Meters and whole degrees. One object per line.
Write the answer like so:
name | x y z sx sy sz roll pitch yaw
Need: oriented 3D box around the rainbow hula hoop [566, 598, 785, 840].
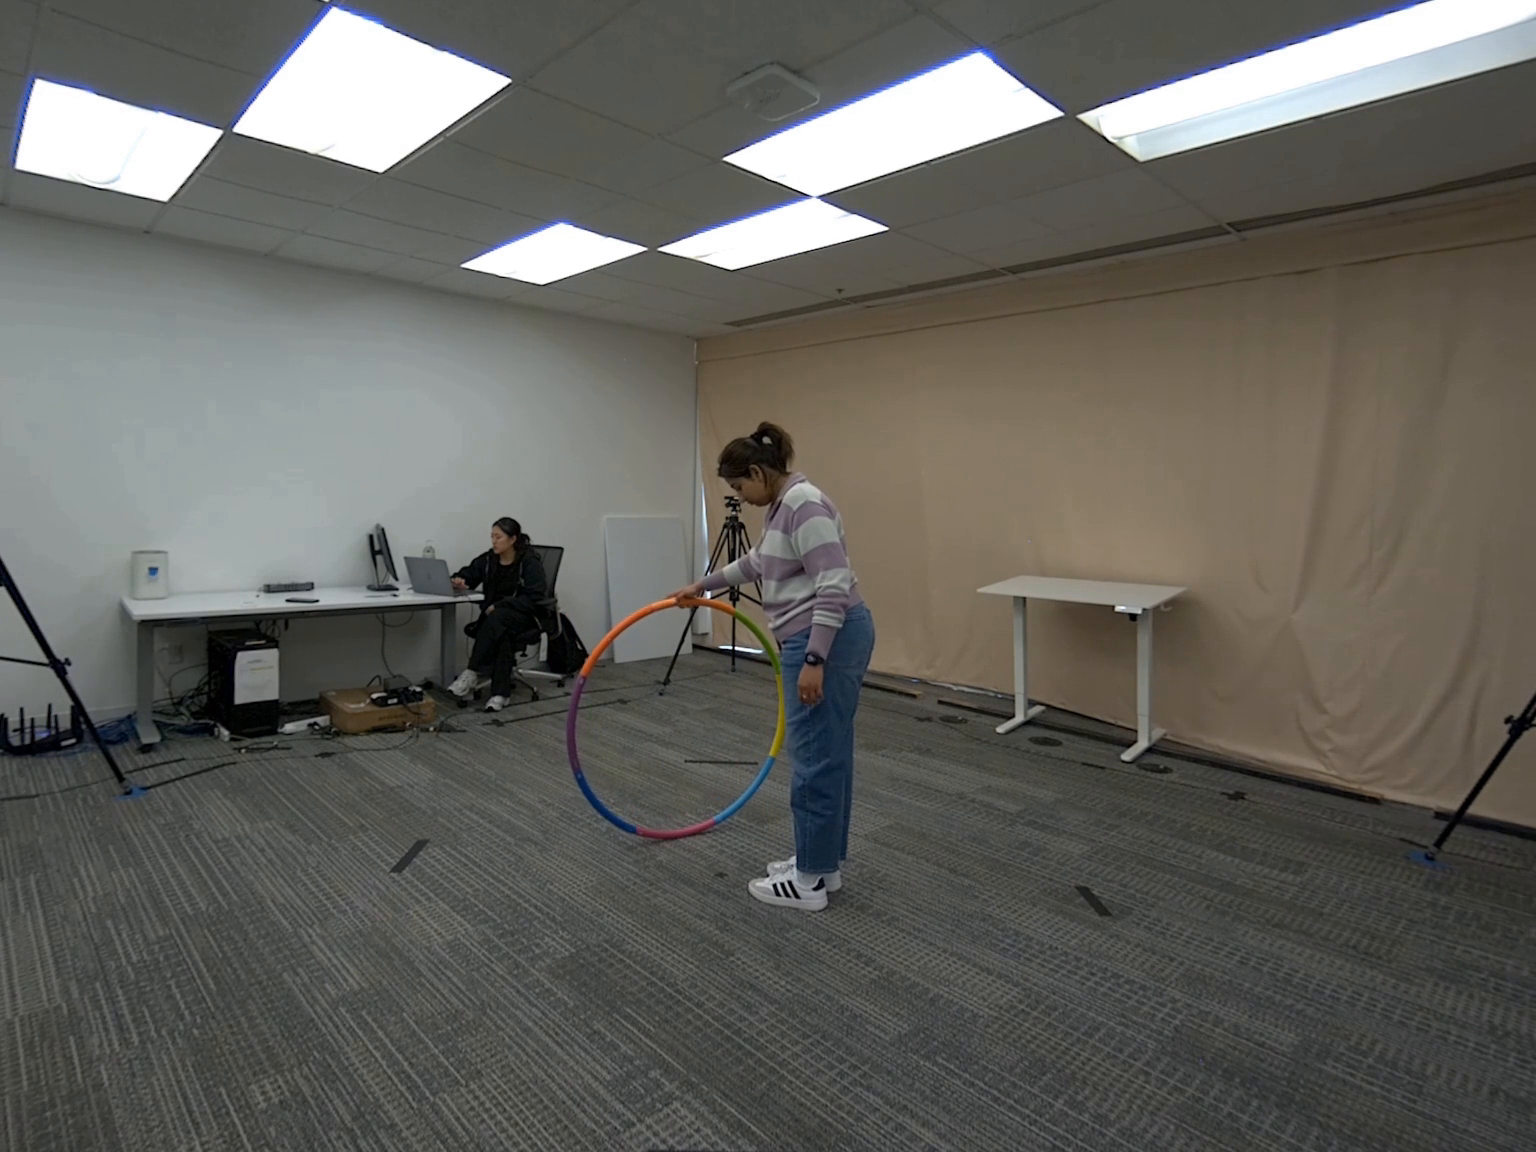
rainbow hula hoop | -0.342 0.576 3.414 0.959 0.975 0.036 -1 5 -29
